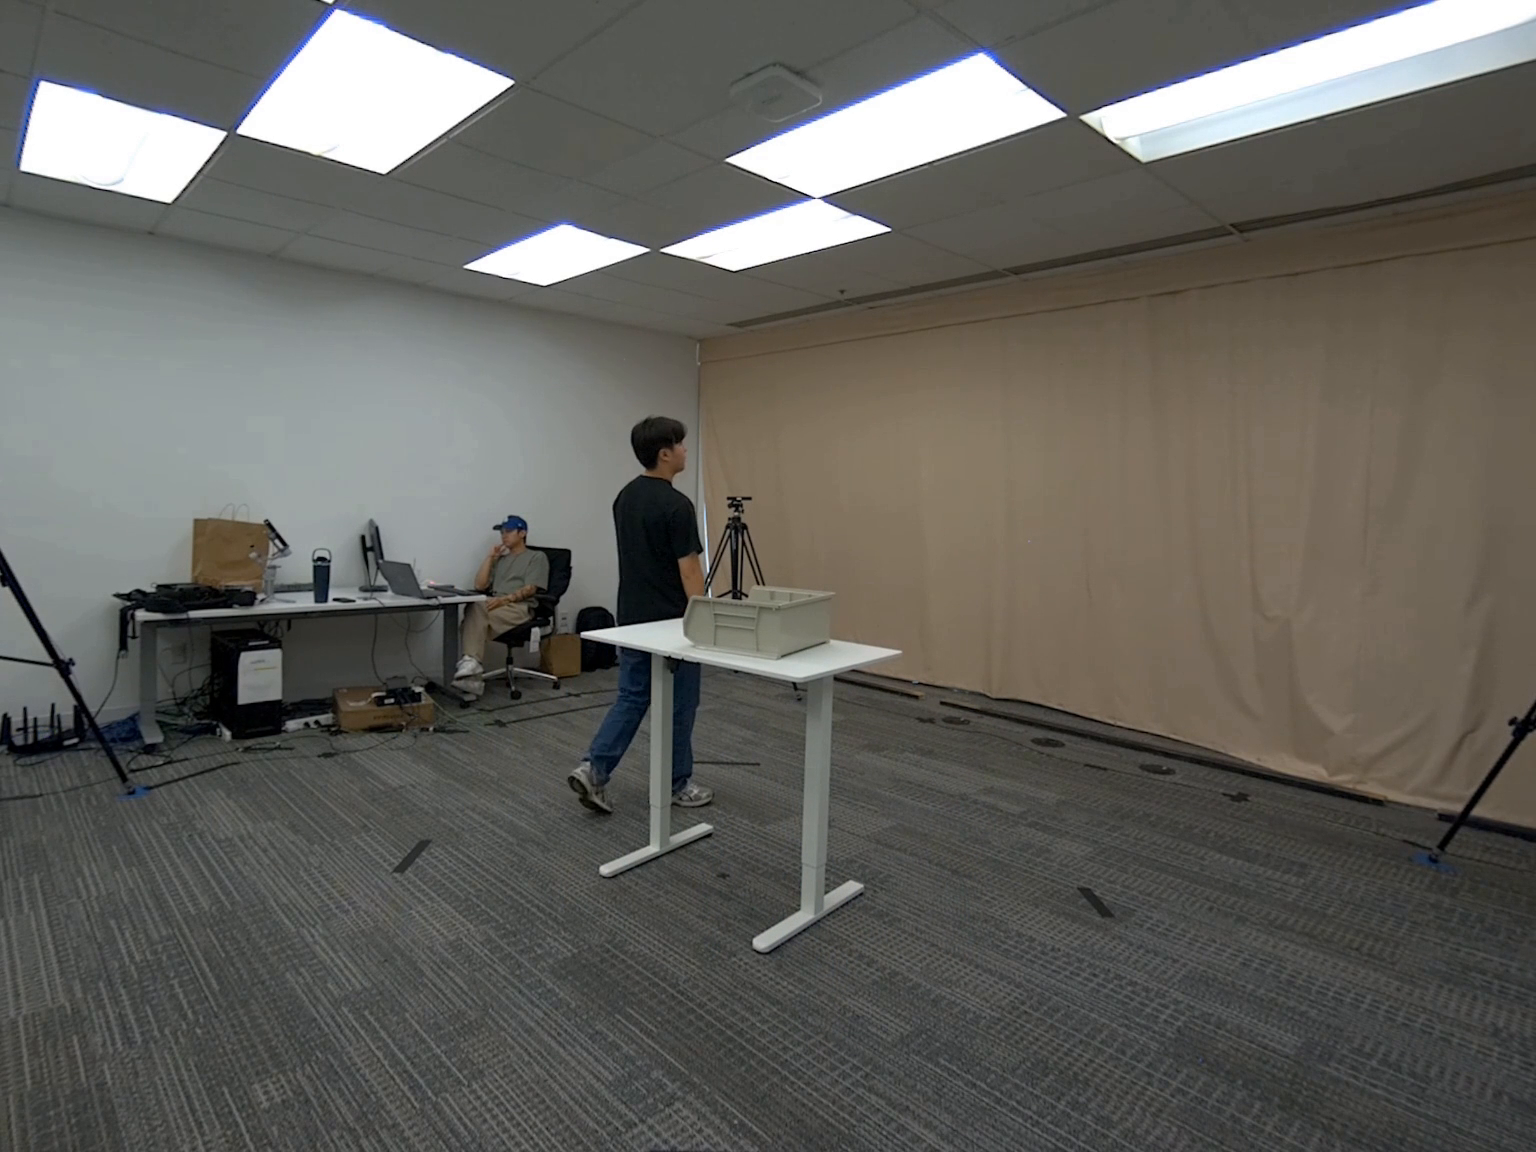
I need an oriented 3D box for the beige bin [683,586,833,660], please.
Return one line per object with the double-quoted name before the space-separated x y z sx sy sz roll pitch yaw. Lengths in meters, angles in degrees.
"beige bin" -0.029 0.158 2.932 0.386 0.188 0.414 6 6 30
